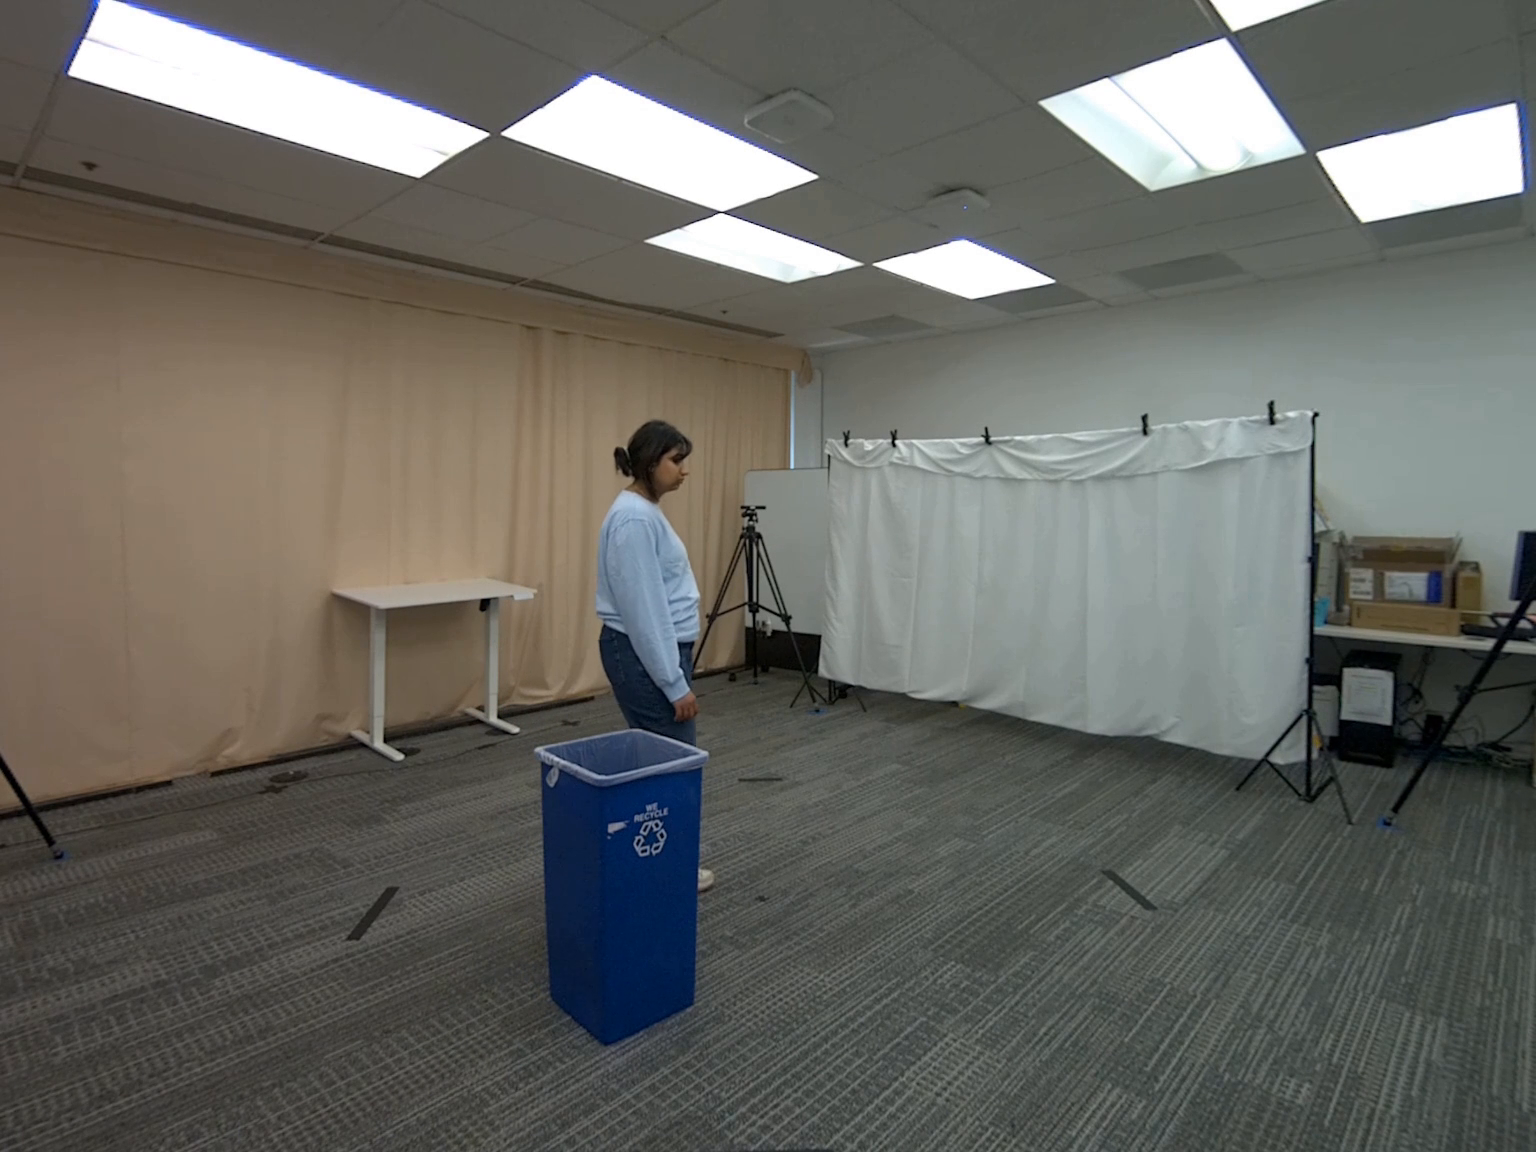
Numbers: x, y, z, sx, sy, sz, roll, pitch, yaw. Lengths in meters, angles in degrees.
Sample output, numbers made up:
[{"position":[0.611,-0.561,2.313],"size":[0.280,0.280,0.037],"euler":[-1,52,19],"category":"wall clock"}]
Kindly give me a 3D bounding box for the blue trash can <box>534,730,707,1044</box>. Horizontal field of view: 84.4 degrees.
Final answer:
[{"position":[-0.400,0.841,2.357],"size":[0.366,0.712,0.386],"euler":[-2,3,-43],"category":"blue trash can"}]
